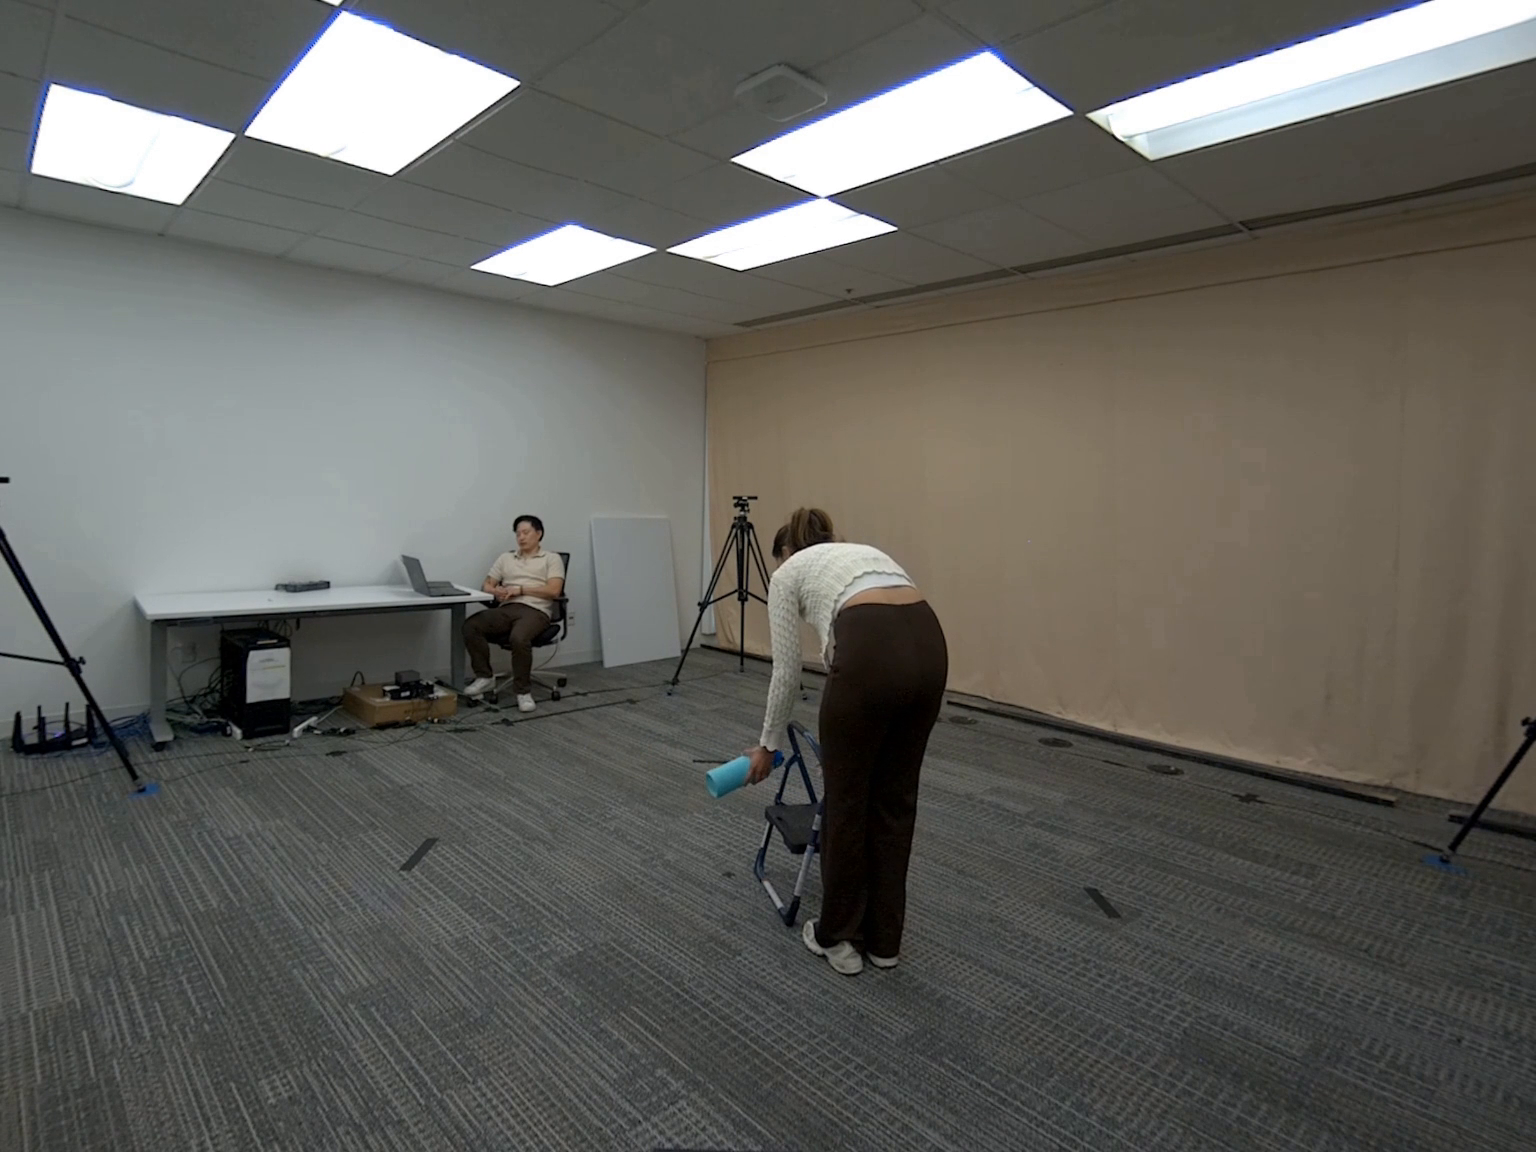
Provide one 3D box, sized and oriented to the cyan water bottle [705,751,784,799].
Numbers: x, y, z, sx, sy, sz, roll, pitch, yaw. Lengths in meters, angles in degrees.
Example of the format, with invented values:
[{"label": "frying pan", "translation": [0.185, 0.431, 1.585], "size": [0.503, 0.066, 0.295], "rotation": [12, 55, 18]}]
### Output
[{"label": "cyan water bottle", "translation": [-0.074, 0.640, 2.799], "size": [0.280, 0.091, 0.094], "rotation": [-17, 12, -26]}]
